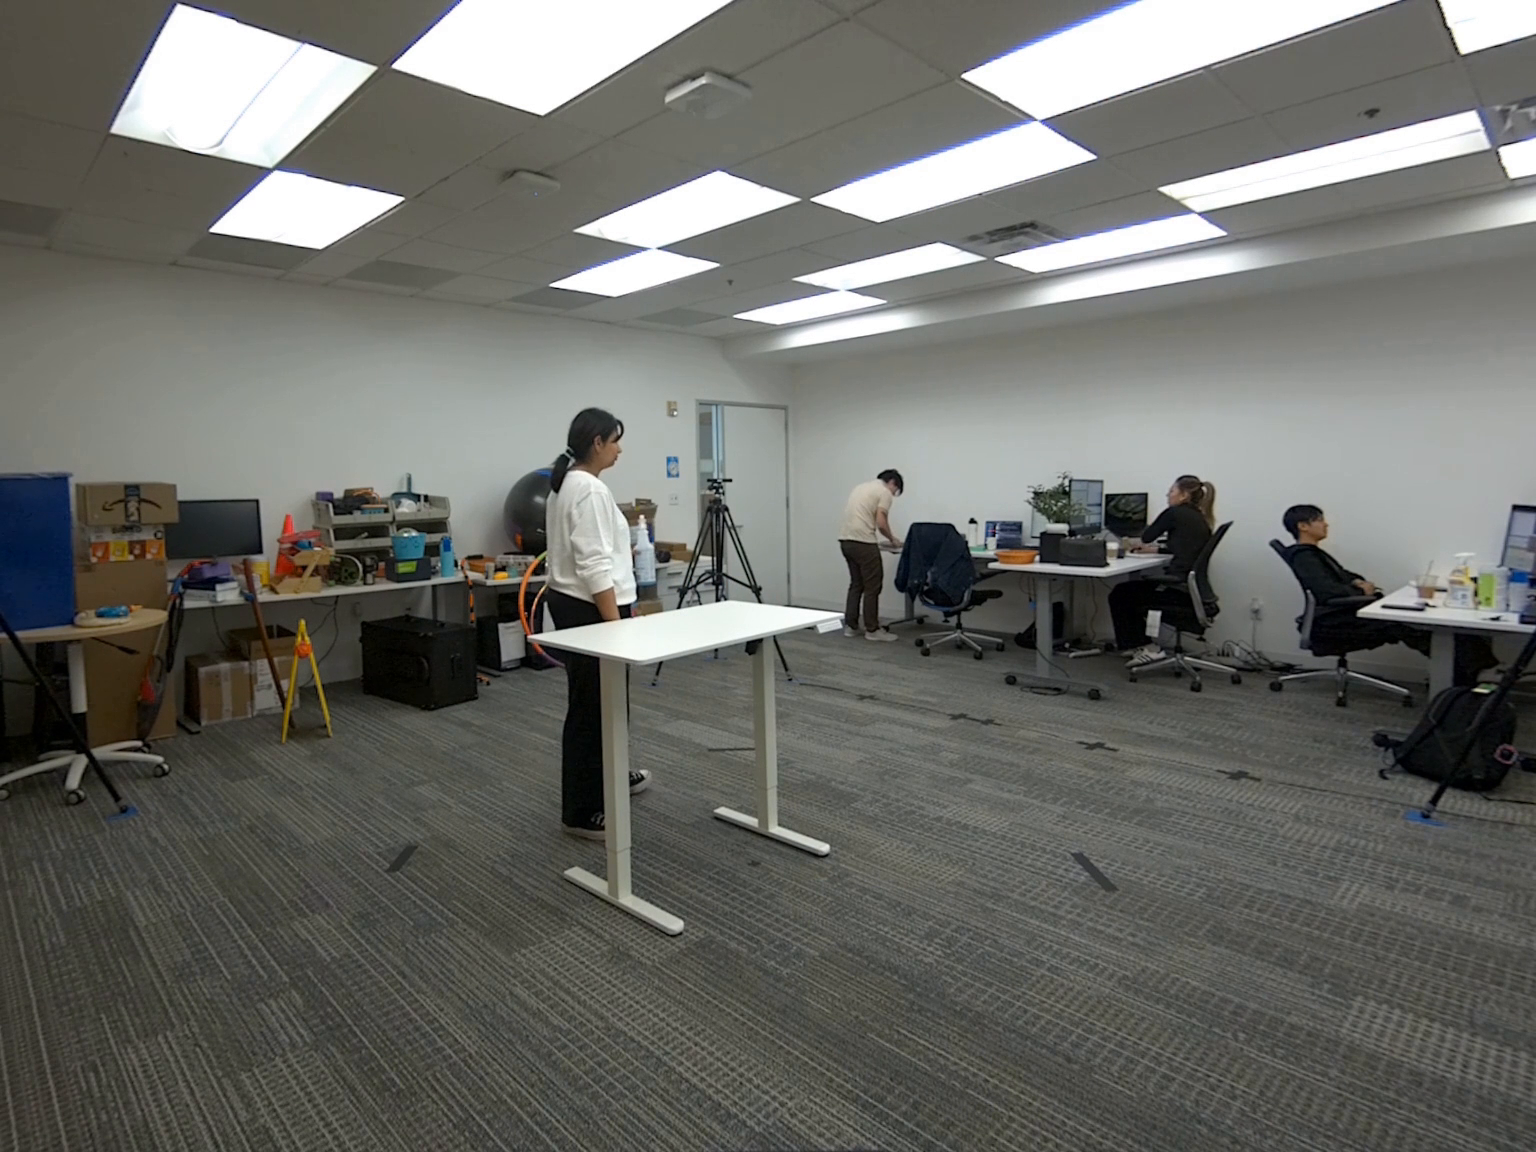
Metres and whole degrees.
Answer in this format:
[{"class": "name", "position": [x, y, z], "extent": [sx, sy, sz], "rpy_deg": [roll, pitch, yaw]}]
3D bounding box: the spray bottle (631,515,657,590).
[{"class": "spray bottle", "position": [-0.531, -0.110, 3.626], "extent": [0.089, 0.296, 0.089], "rpy_deg": [0, 5, 19]}]
